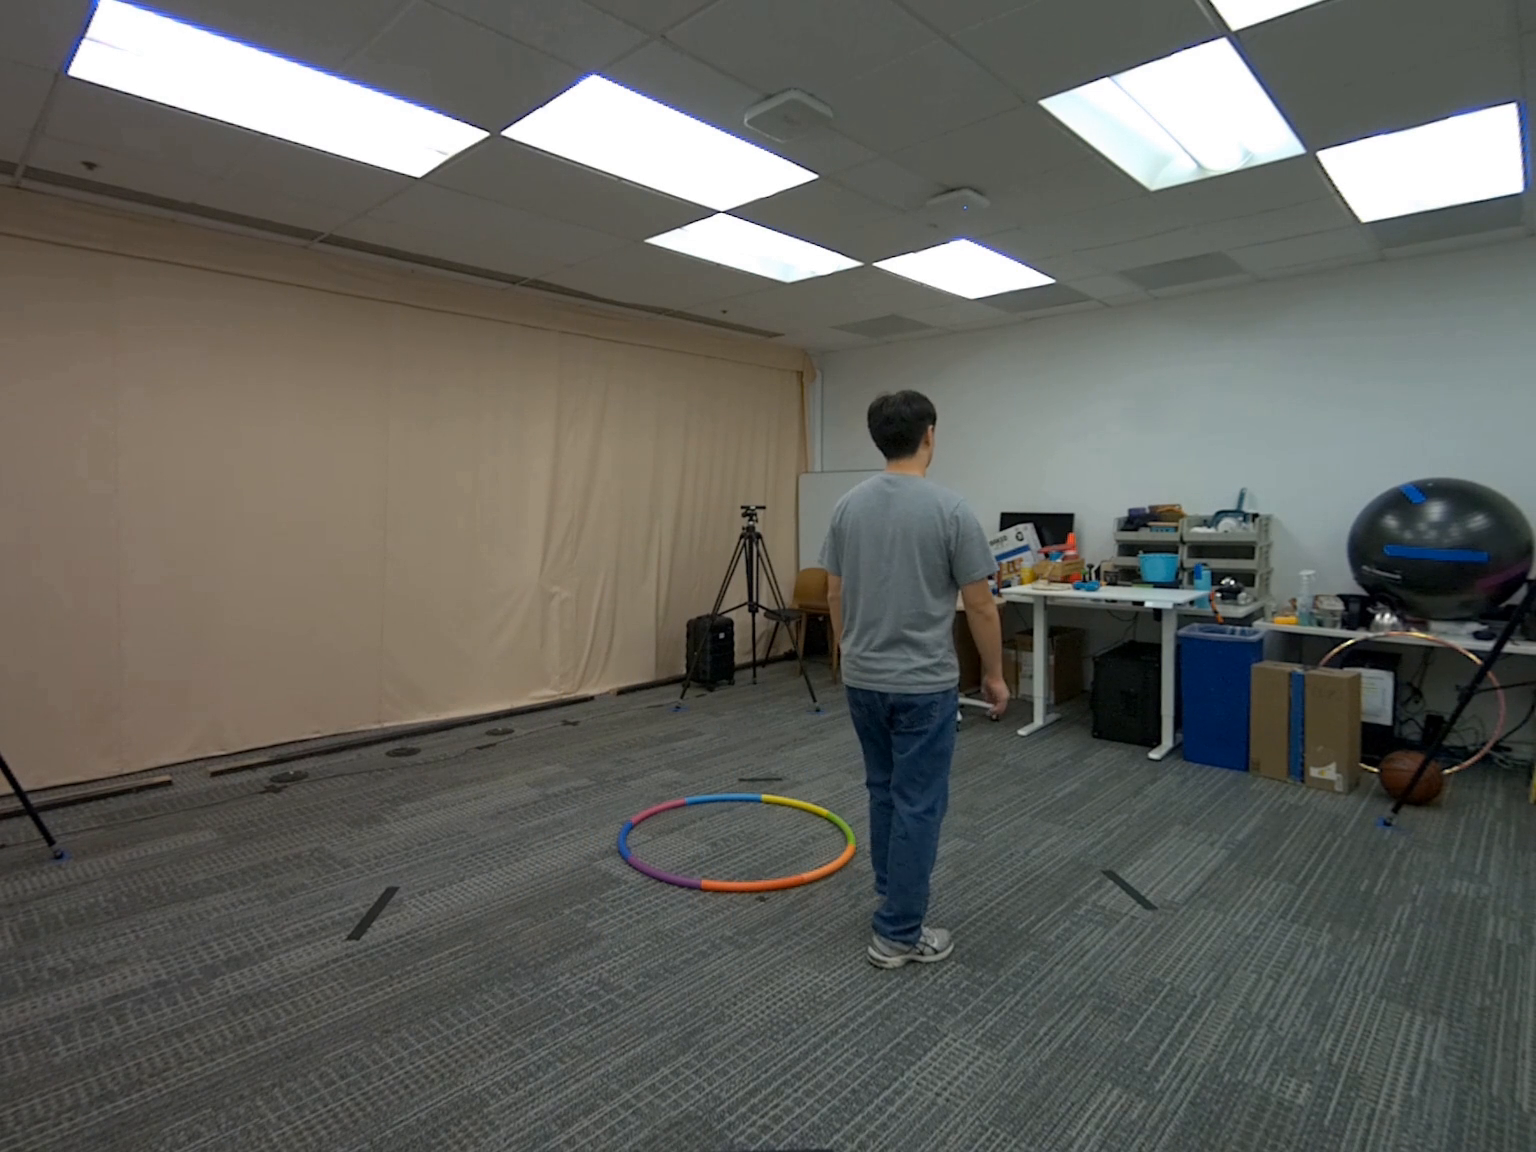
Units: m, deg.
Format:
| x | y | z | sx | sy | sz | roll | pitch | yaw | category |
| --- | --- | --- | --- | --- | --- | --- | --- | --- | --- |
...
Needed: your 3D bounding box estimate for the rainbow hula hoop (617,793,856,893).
| x | y | z | sx | sy | sz | roll | pitch | yaw | category |
| --- | --- | --- | --- | --- | --- | --- | --- | --- | --- |
| -0.132 | 1.070 | 3.509 | 0.978 | 0.035 | 0.982 | 0 | 5 | -2 | rainbow hula hoop |
